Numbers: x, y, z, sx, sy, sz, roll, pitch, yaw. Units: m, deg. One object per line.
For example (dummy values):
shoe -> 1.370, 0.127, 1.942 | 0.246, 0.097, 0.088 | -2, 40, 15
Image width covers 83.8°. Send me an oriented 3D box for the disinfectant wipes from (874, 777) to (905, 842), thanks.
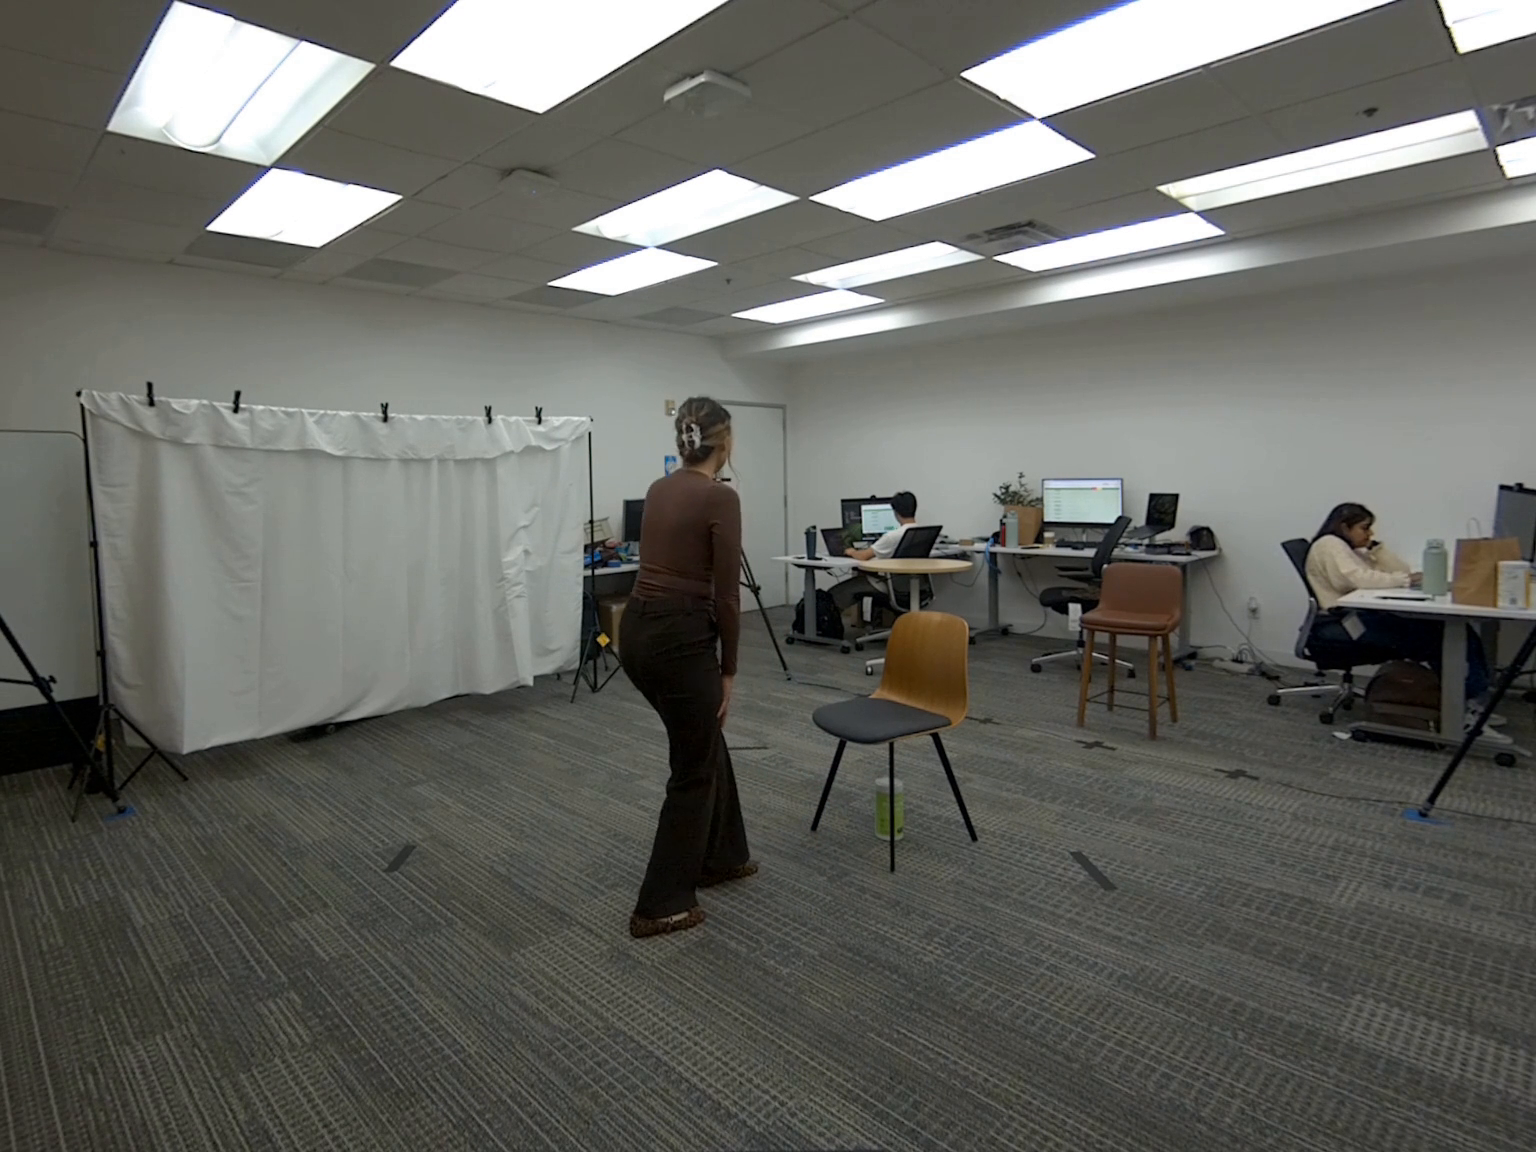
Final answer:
disinfectant wipes -> 0.479, 0.911, 3.310 | 0.118, 0.216, 0.118 | -3, 5, -1
